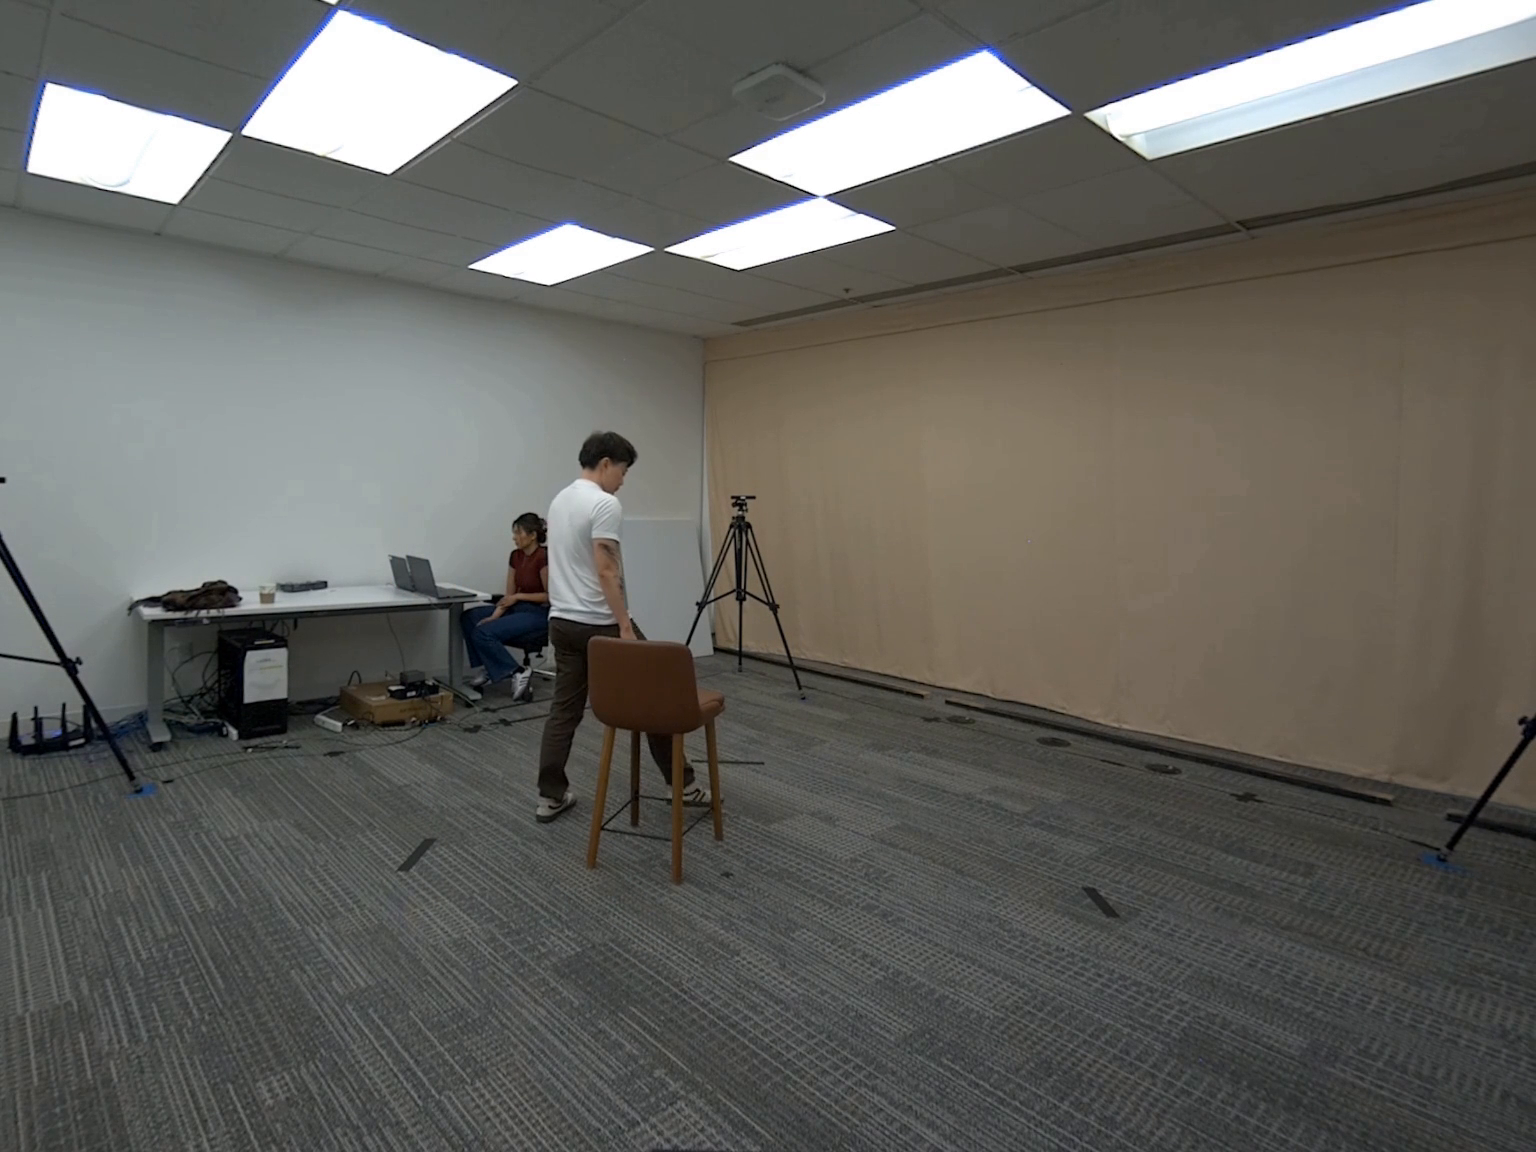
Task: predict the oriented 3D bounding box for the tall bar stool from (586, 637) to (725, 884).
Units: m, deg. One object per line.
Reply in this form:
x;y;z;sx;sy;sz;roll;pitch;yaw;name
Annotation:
-0.439;0.650;3.254;0.463;0.887;0.462;2;5;18;tall bar stool
